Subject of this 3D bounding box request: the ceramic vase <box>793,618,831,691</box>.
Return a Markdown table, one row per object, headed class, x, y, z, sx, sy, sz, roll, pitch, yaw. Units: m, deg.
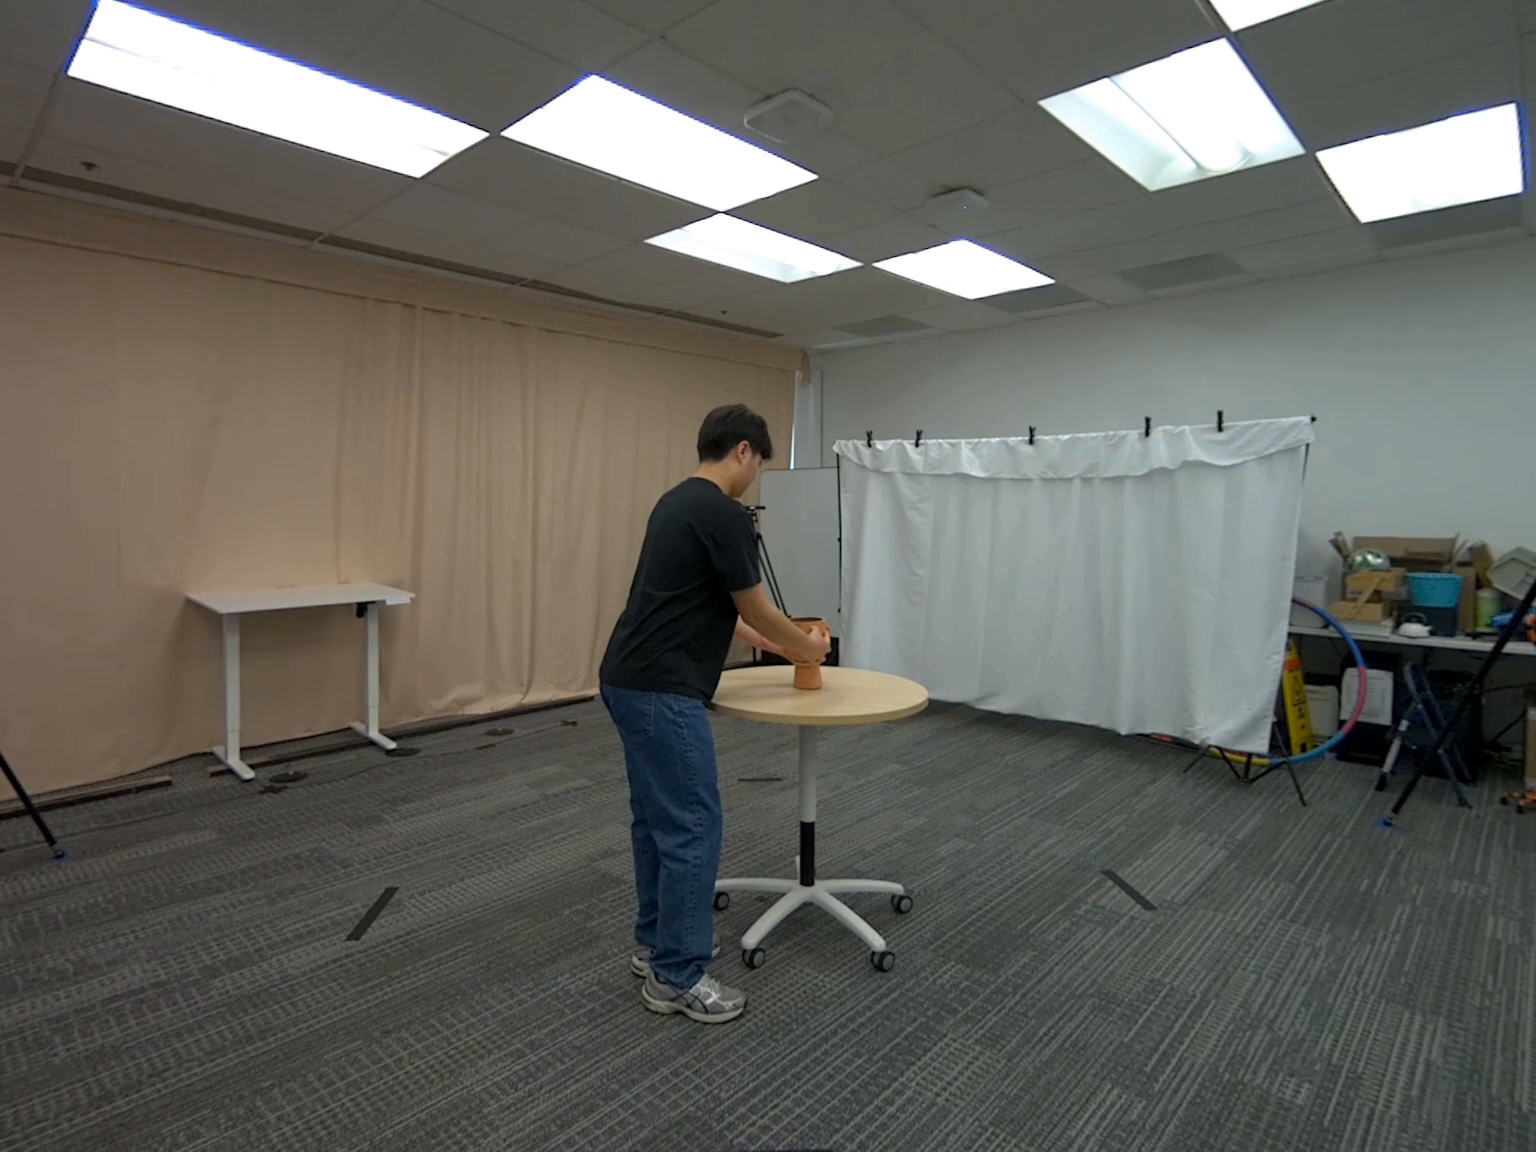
| class | x | y | z | sx | sy | sz | roll | pitch | yaw |
| --- | --- | --- | --- | --- | --- | --- | --- | --- | --- |
| ceramic vase | 0.135 | 0.253 | 2.750 | 0.160 | 0.219 | 0.134 | -1 | 5 | 6 |
